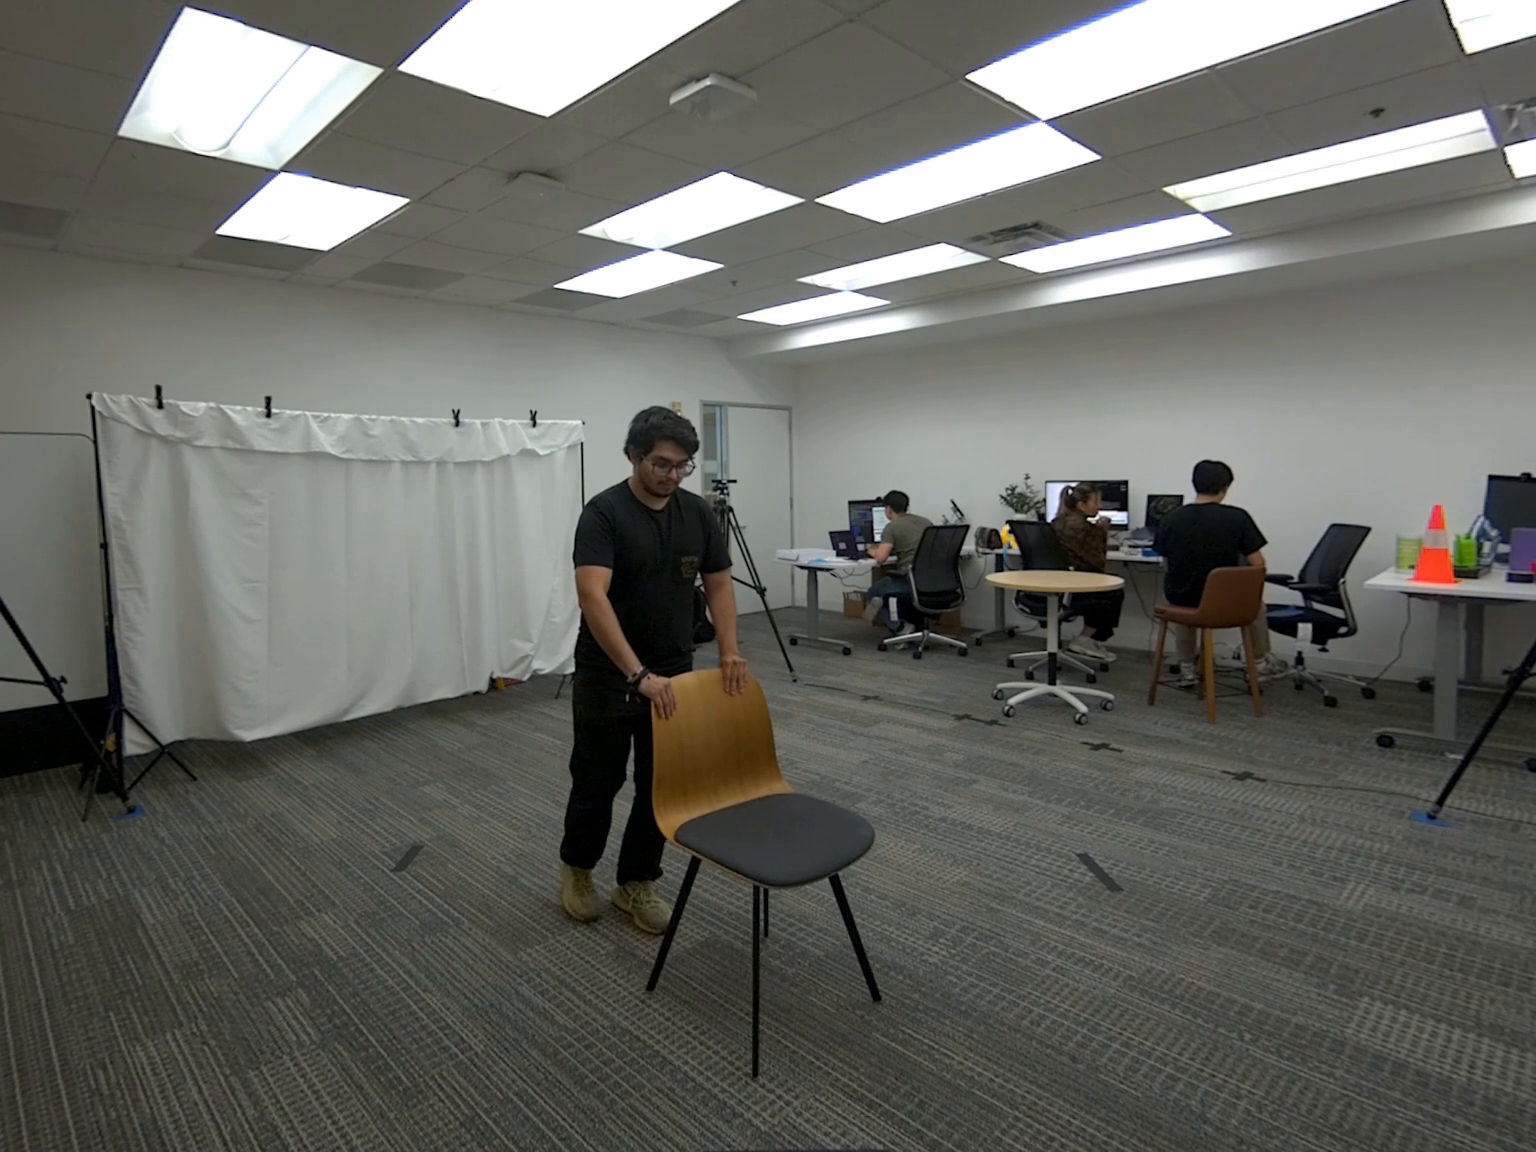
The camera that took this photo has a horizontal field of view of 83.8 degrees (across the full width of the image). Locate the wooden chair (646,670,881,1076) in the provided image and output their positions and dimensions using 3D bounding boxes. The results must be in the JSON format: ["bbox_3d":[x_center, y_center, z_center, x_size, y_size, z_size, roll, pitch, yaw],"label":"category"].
[{"bbox_3d":[-0.013,0.716,2.279,0.465,0.877,0.537,-4,0,-41],"label":"wooden chair"}]
